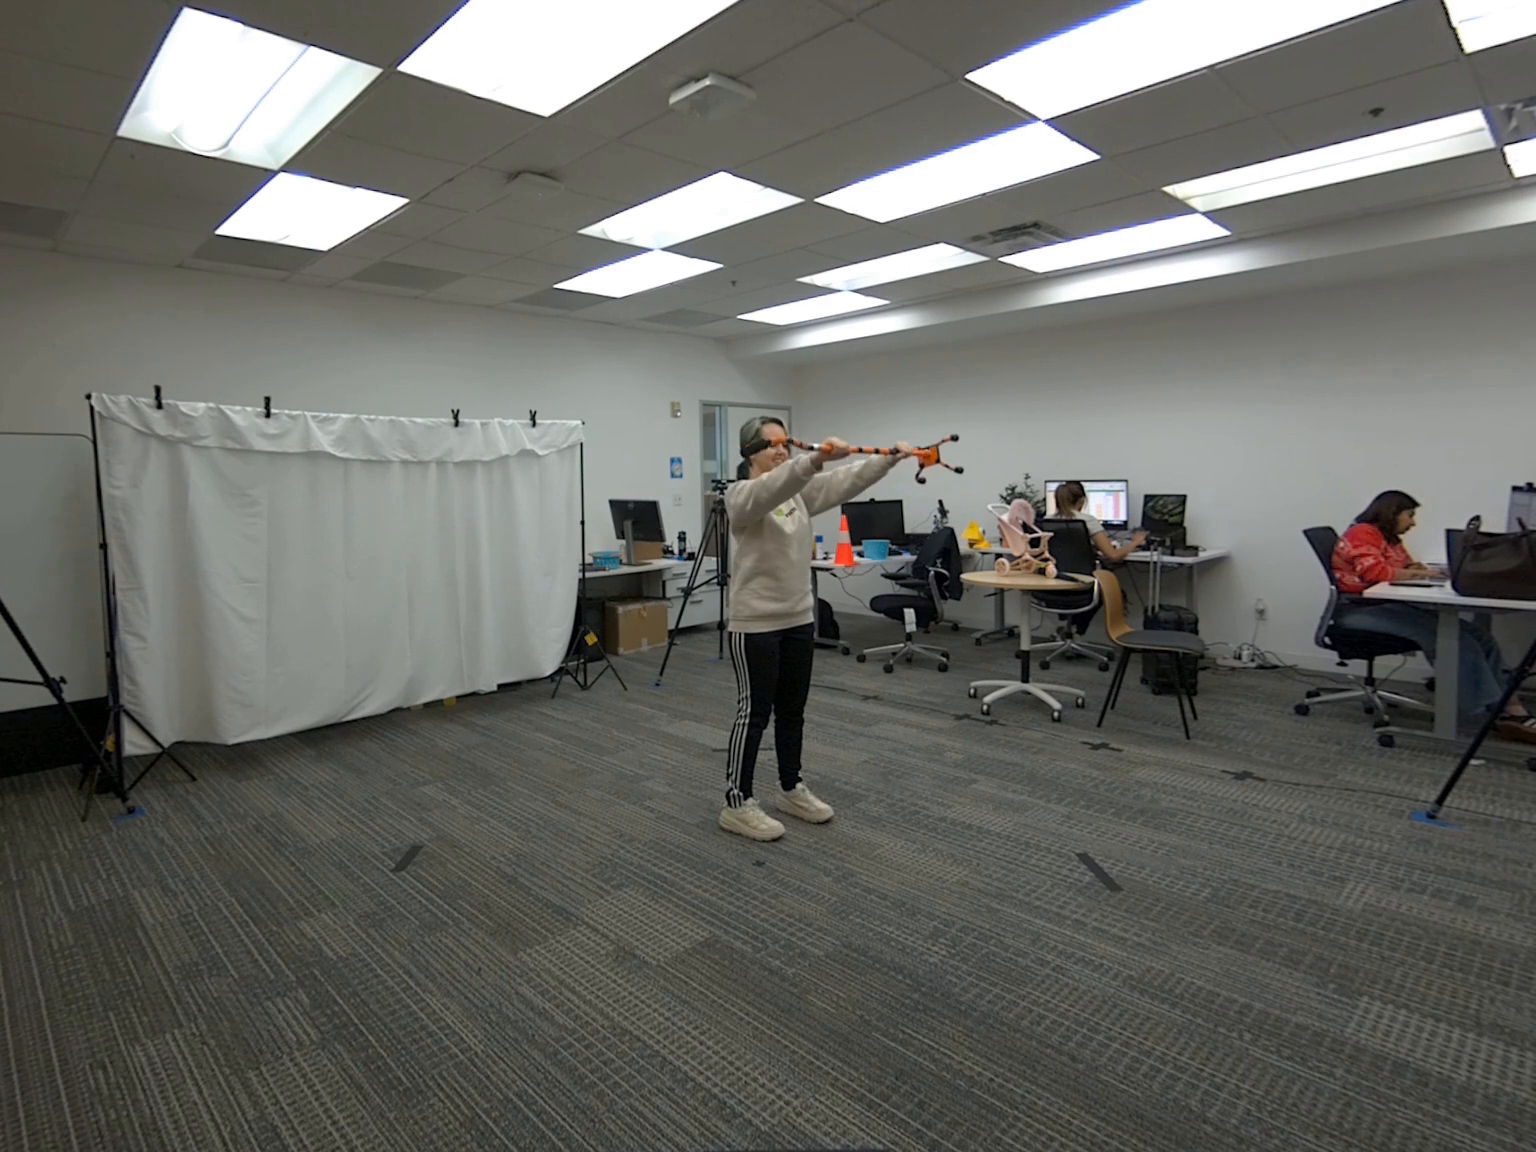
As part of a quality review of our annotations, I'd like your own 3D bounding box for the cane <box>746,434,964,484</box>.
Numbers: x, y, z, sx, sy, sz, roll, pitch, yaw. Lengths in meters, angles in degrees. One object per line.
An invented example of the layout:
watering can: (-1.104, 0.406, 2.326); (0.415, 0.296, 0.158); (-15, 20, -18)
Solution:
cane: (0.311, -0.419, 2.974); (0.883, 0.153, 0.210); (-4, -8, -39)
